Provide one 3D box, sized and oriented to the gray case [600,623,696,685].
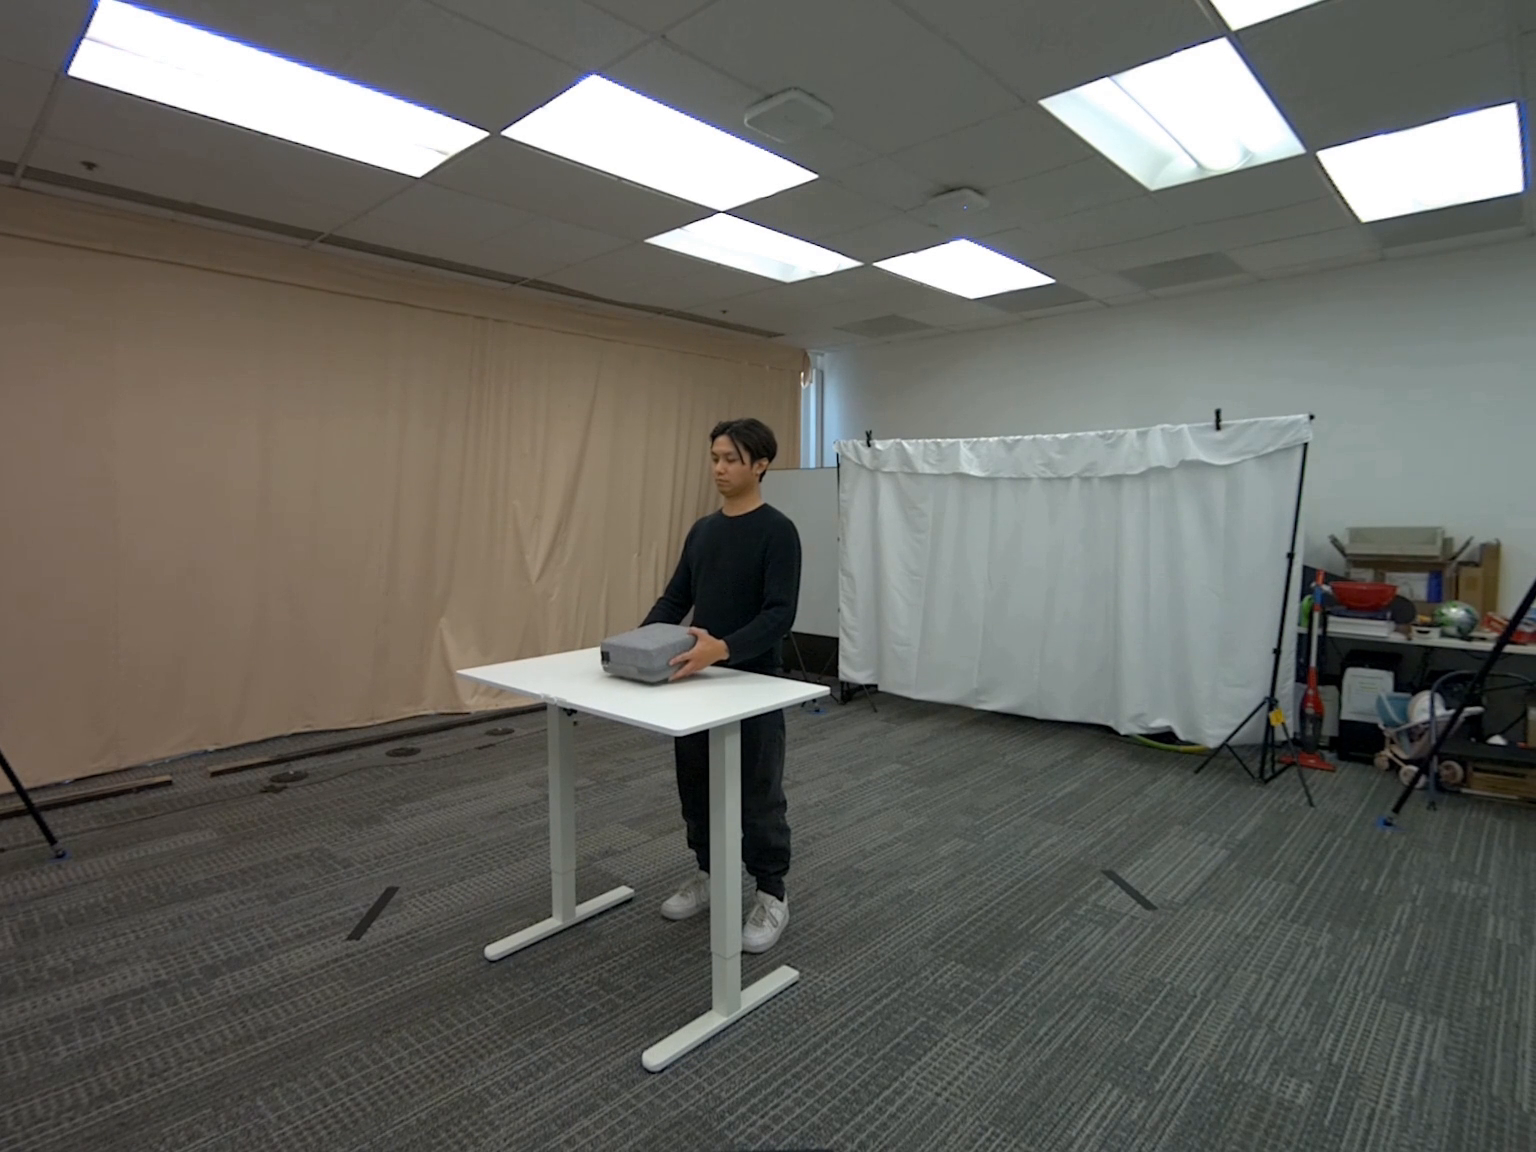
[{"bbox_3d":[-0.335,0.227,2.523,0.265,0.104,0.254,3,13,44],"label":"gray case"}]
